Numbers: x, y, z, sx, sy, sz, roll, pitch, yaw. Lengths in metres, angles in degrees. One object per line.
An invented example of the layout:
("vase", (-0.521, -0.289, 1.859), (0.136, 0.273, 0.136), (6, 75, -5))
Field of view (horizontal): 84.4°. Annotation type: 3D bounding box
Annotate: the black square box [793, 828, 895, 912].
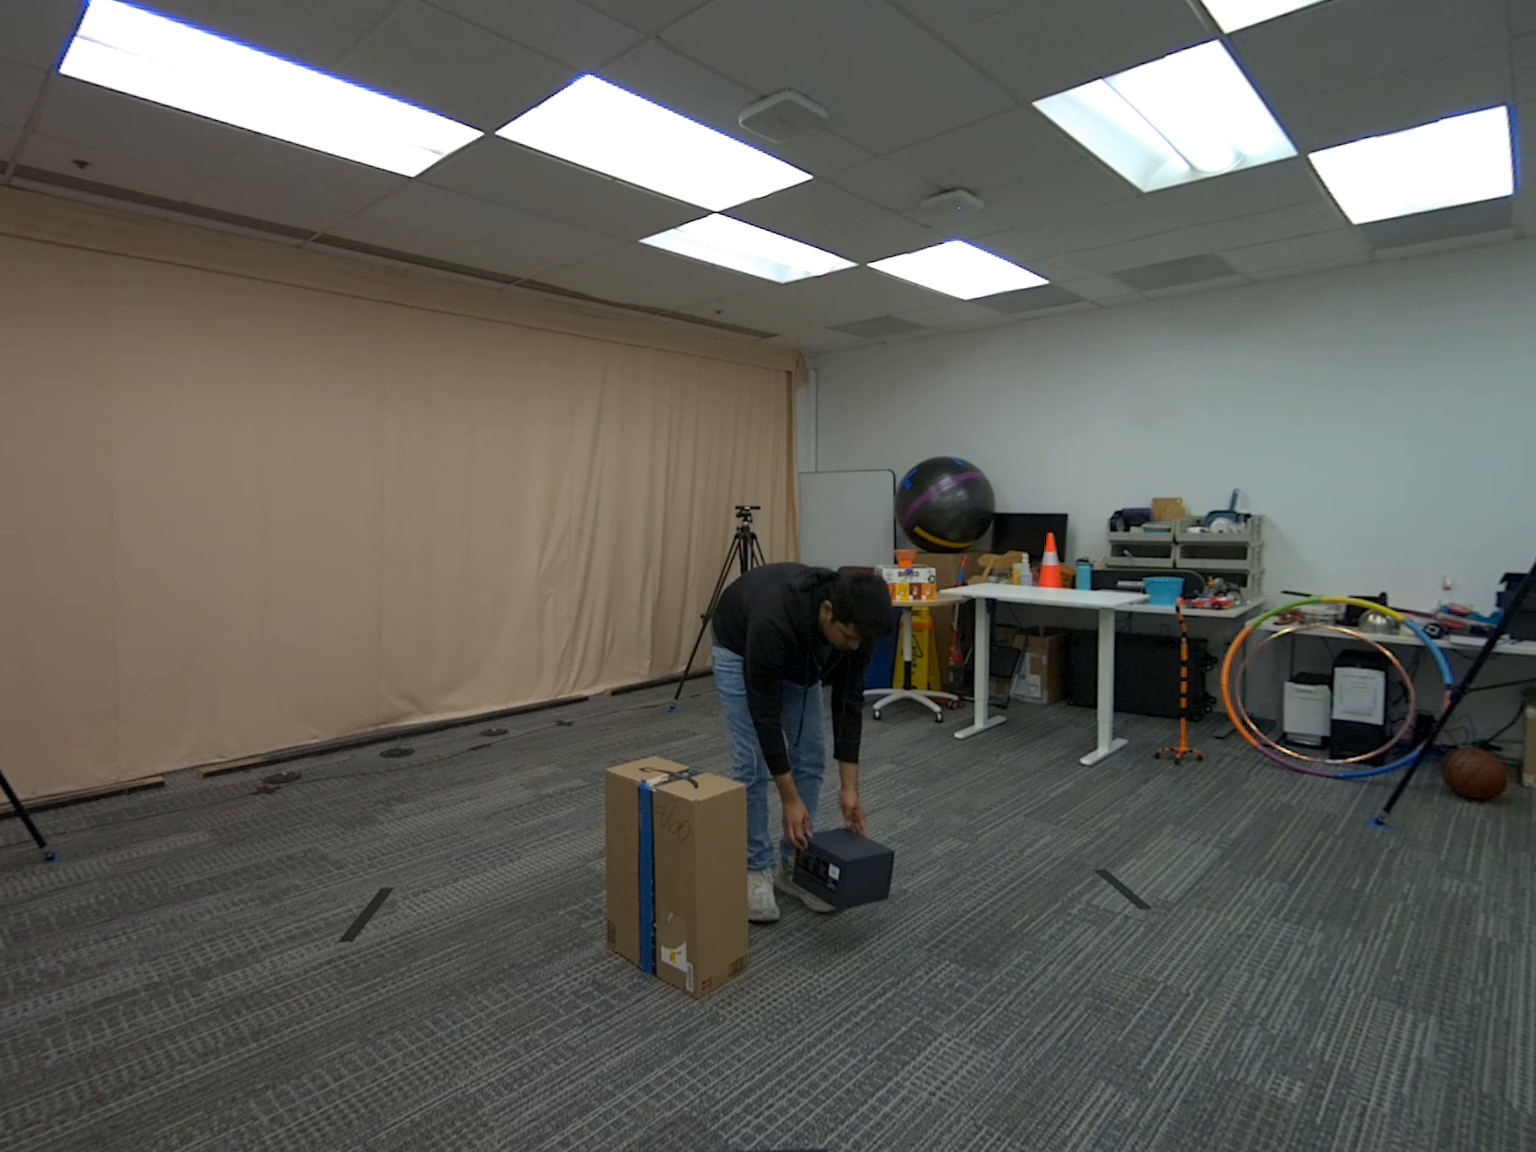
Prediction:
("black square box", (0.245, 0.917, 2.678), (0.220, 0.156, 0.224), (5, 2, -41))
